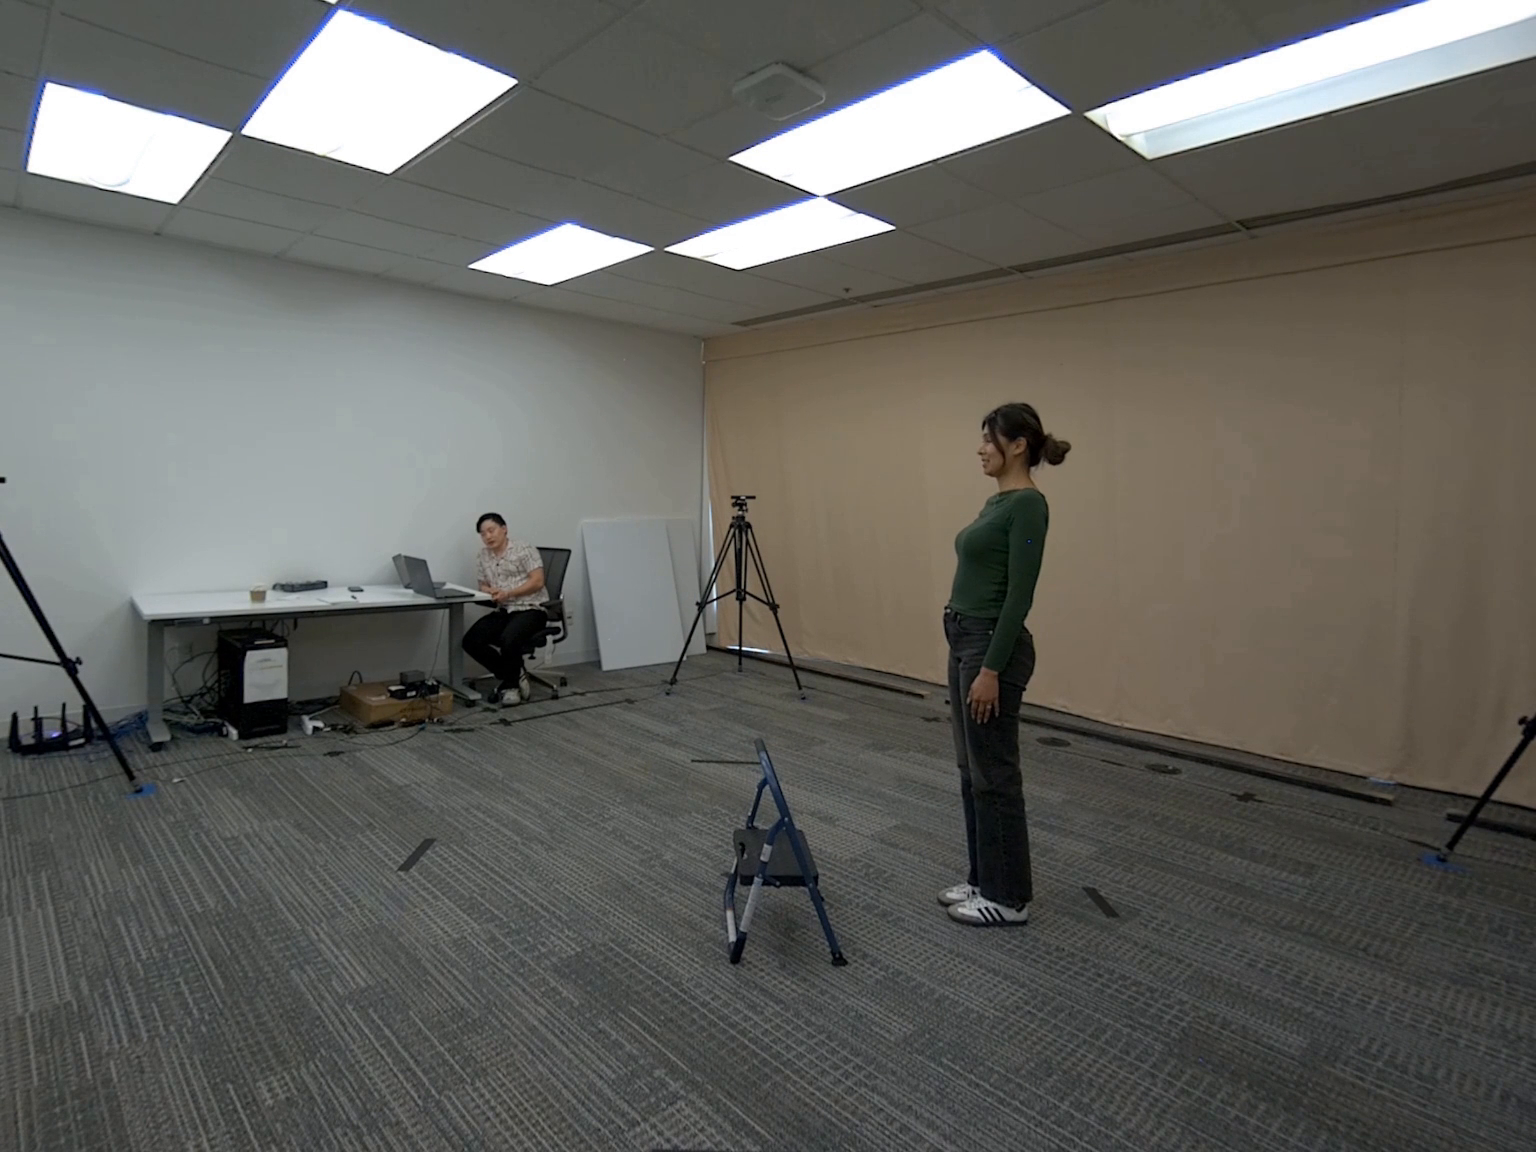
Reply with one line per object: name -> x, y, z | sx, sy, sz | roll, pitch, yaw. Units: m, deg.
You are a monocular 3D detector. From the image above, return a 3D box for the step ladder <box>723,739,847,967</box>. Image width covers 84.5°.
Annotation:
step ladder -> 0.034, 0.846, 2.695 | 0.347, 0.604, 0.434 | 1, 4, -7
